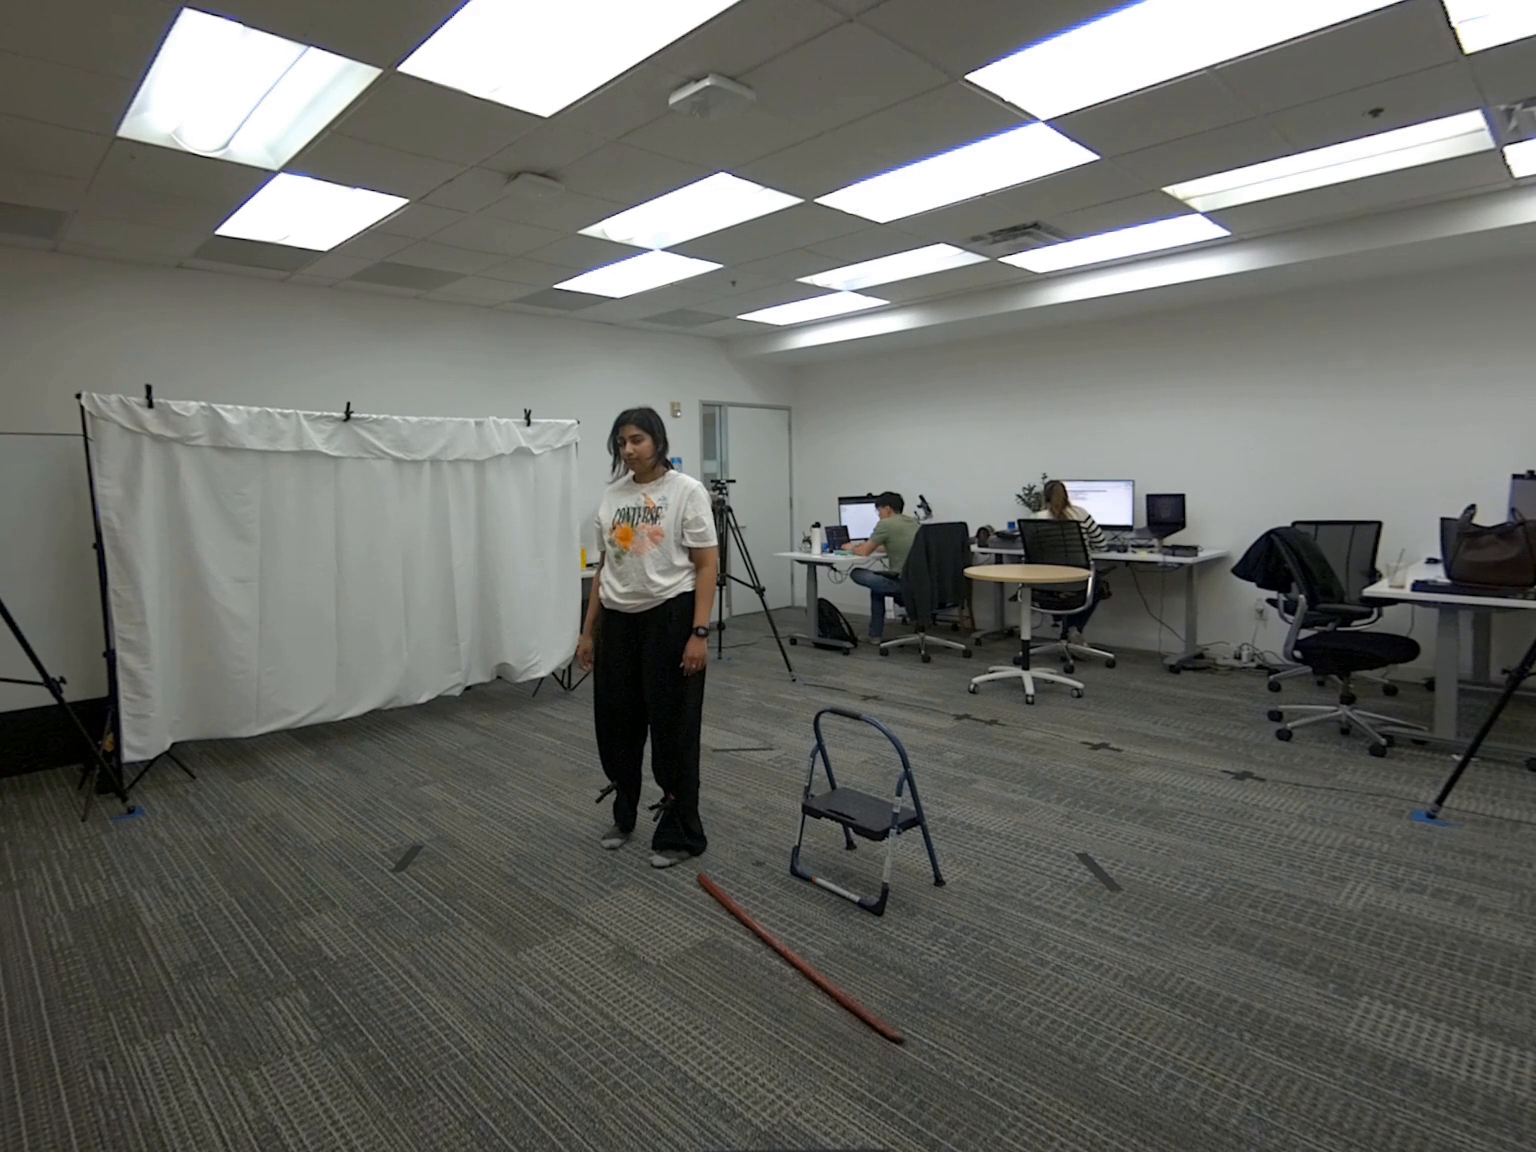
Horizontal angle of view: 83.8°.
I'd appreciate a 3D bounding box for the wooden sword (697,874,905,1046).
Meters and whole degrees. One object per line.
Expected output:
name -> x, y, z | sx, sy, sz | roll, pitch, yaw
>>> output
wooden sword -> 0.039, 1.078, 2.562 | 0.023, 0.051, 1.054 | 24, -8, -32
